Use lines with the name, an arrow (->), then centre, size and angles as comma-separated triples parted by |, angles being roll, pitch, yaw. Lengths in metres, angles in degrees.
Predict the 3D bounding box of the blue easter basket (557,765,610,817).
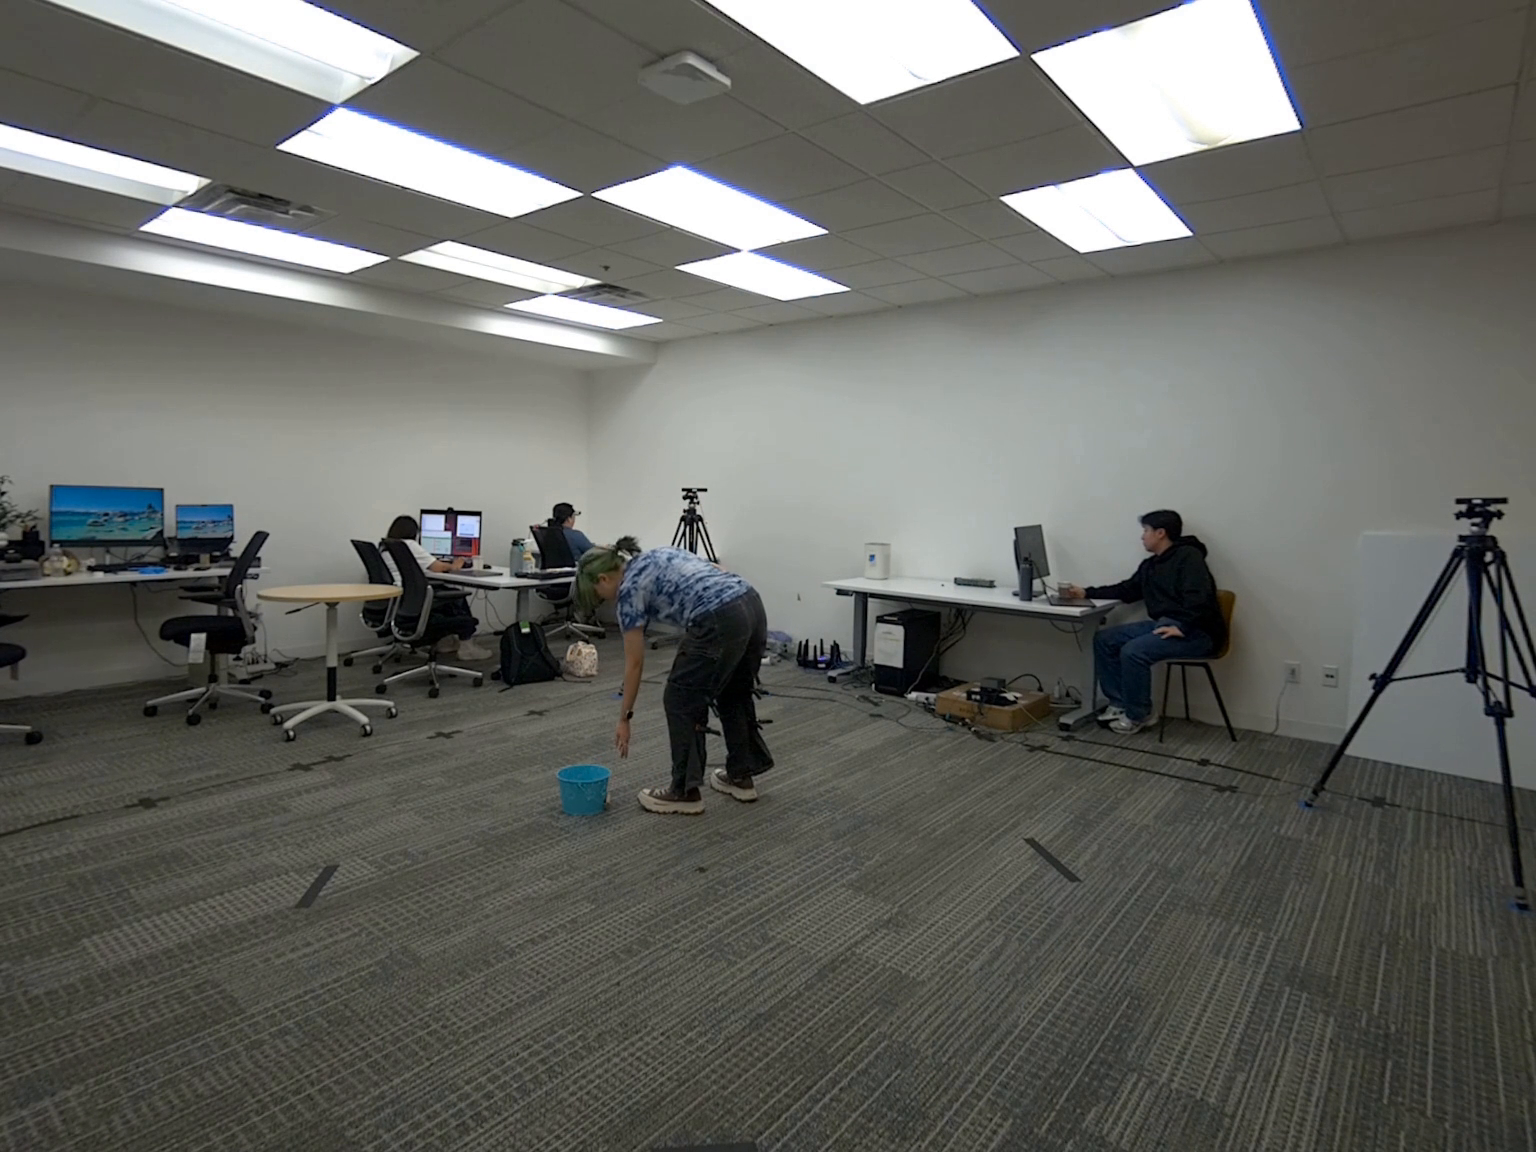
blue easter basket -> -0.810, 0.925, 3.695 | 0.243, 0.155, 0.245 | 0, 5, -2
